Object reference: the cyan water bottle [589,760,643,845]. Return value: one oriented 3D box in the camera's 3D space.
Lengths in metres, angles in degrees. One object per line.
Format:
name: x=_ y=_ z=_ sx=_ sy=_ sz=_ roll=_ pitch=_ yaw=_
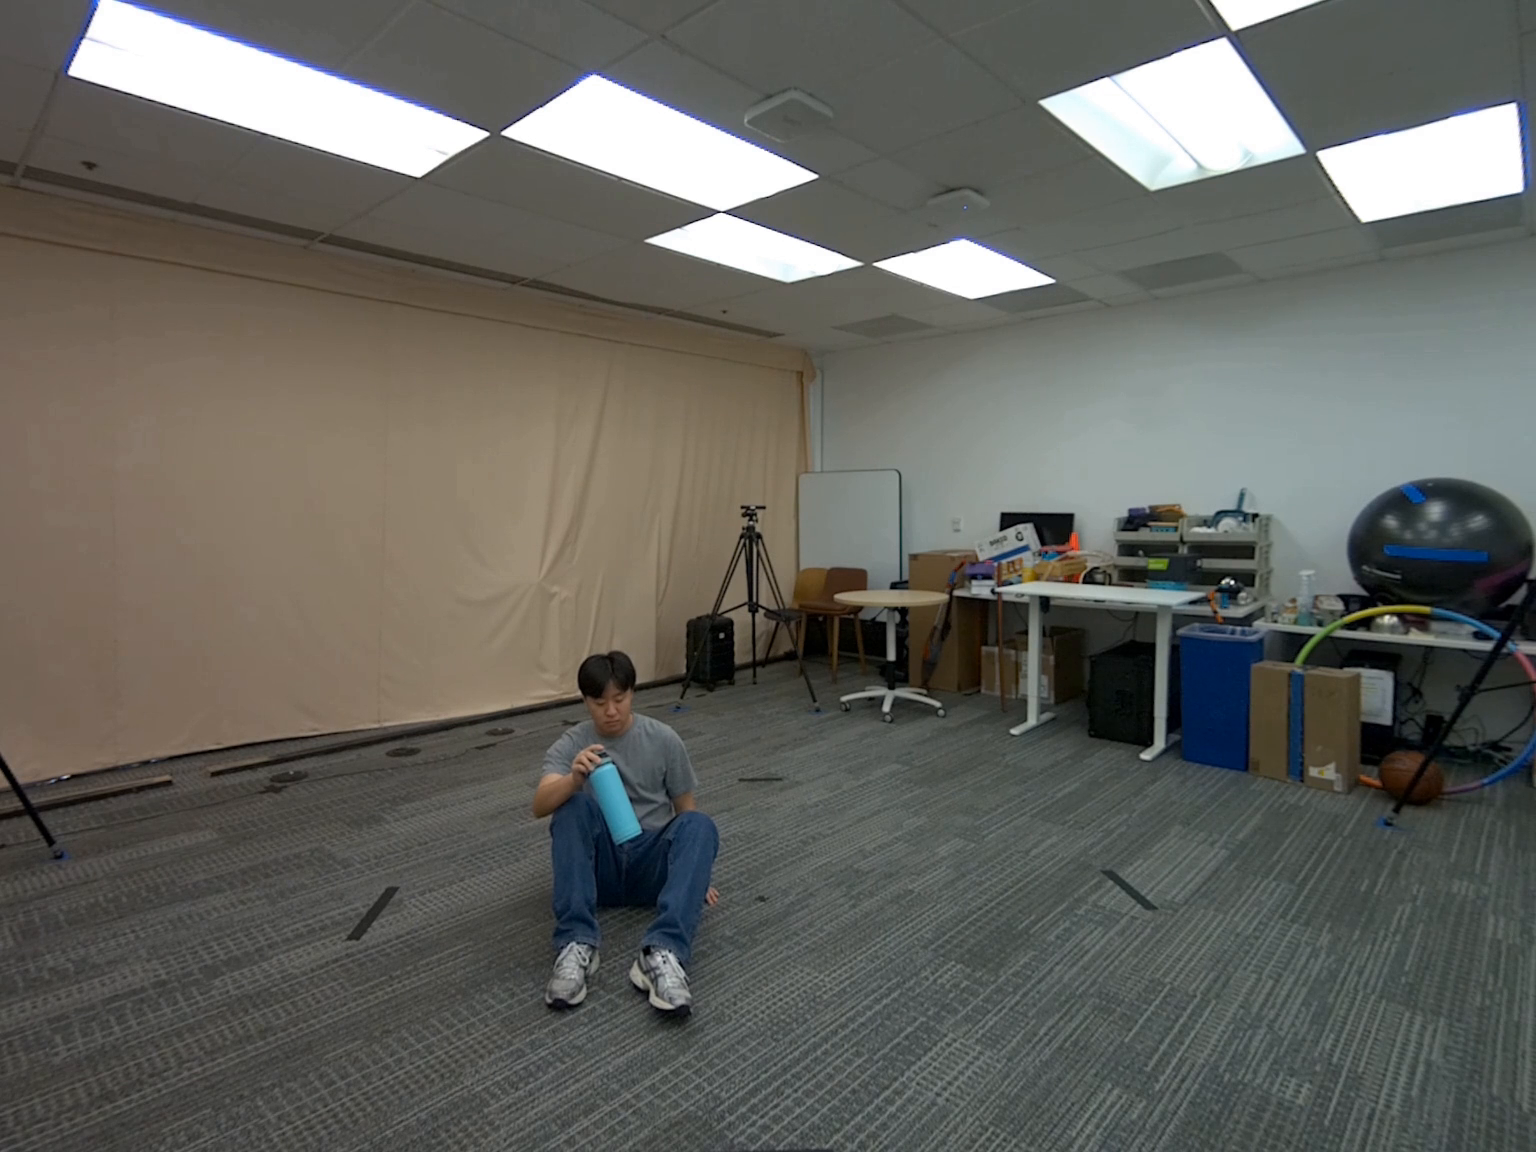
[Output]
cyan water bottle: x=-0.482 y=0.673 z=2.575 sx=0.092 sy=0.288 sz=0.091 roll=-23 pitch=-15 yaw=-8
